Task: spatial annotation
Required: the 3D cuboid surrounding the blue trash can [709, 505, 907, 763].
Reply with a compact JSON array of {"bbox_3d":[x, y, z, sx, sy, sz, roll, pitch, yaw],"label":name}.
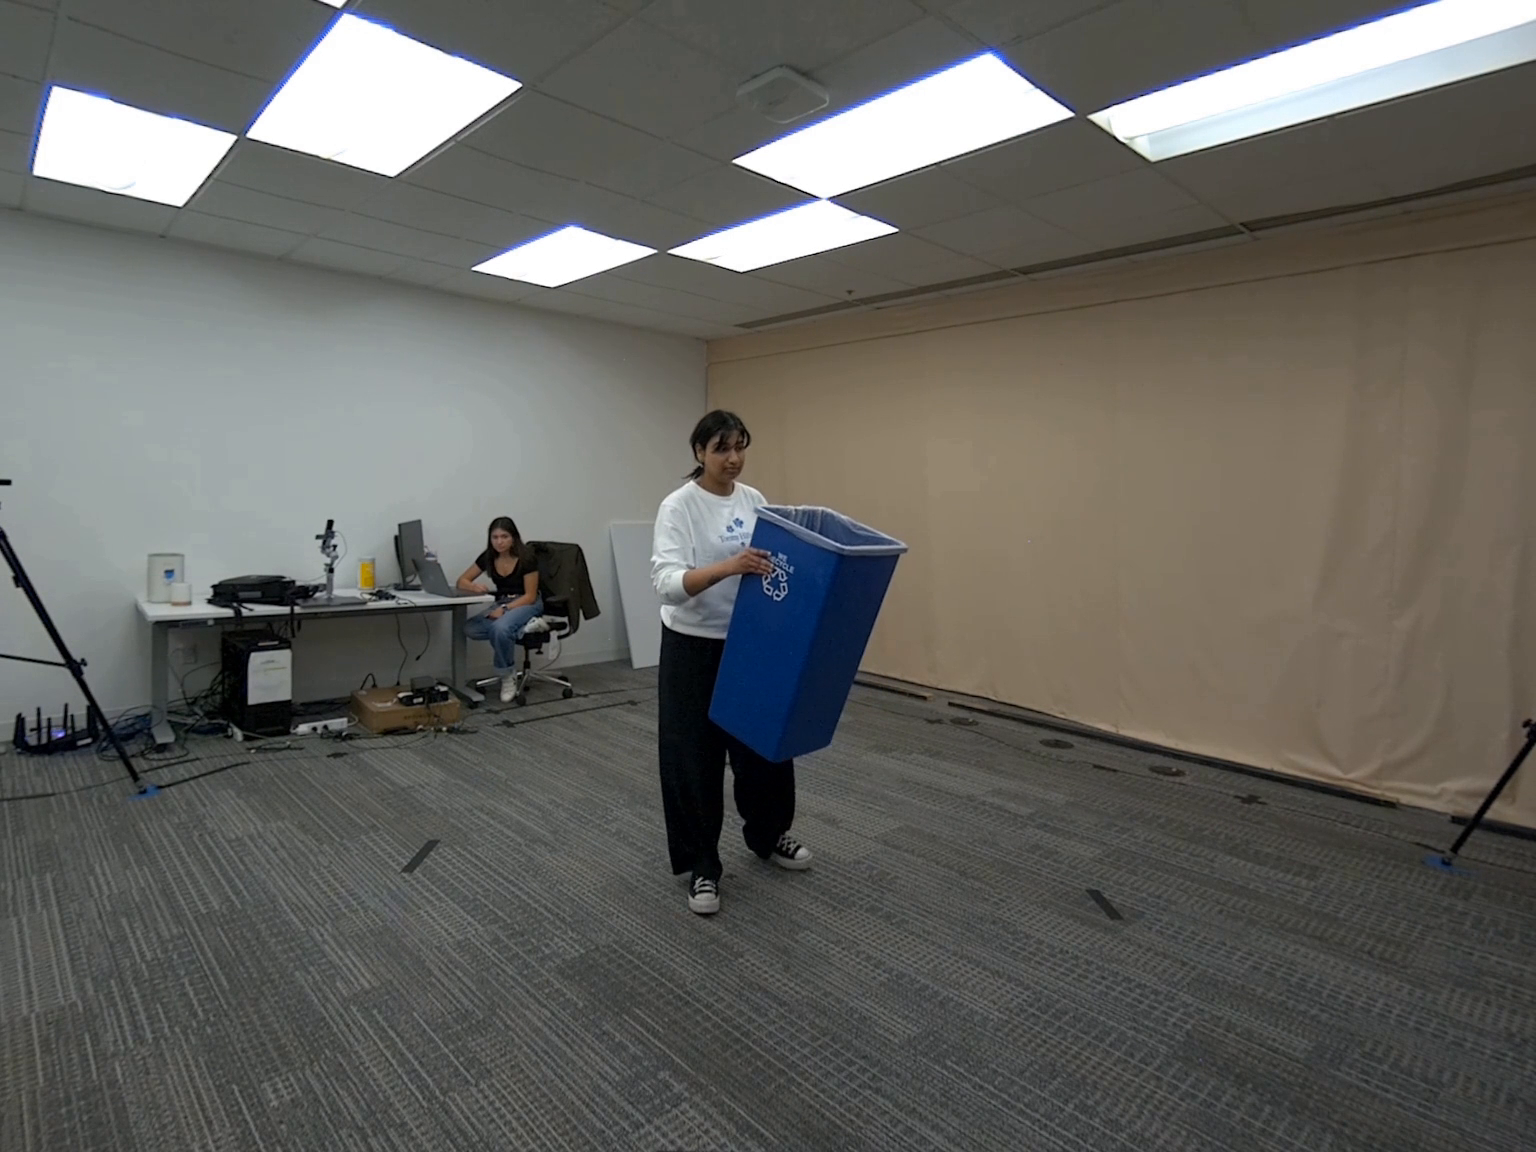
[{"bbox_3d":[0.106,0.175,2.645,0.385,0.709,0.369,25,17,35],"label":"blue trash can"}]
